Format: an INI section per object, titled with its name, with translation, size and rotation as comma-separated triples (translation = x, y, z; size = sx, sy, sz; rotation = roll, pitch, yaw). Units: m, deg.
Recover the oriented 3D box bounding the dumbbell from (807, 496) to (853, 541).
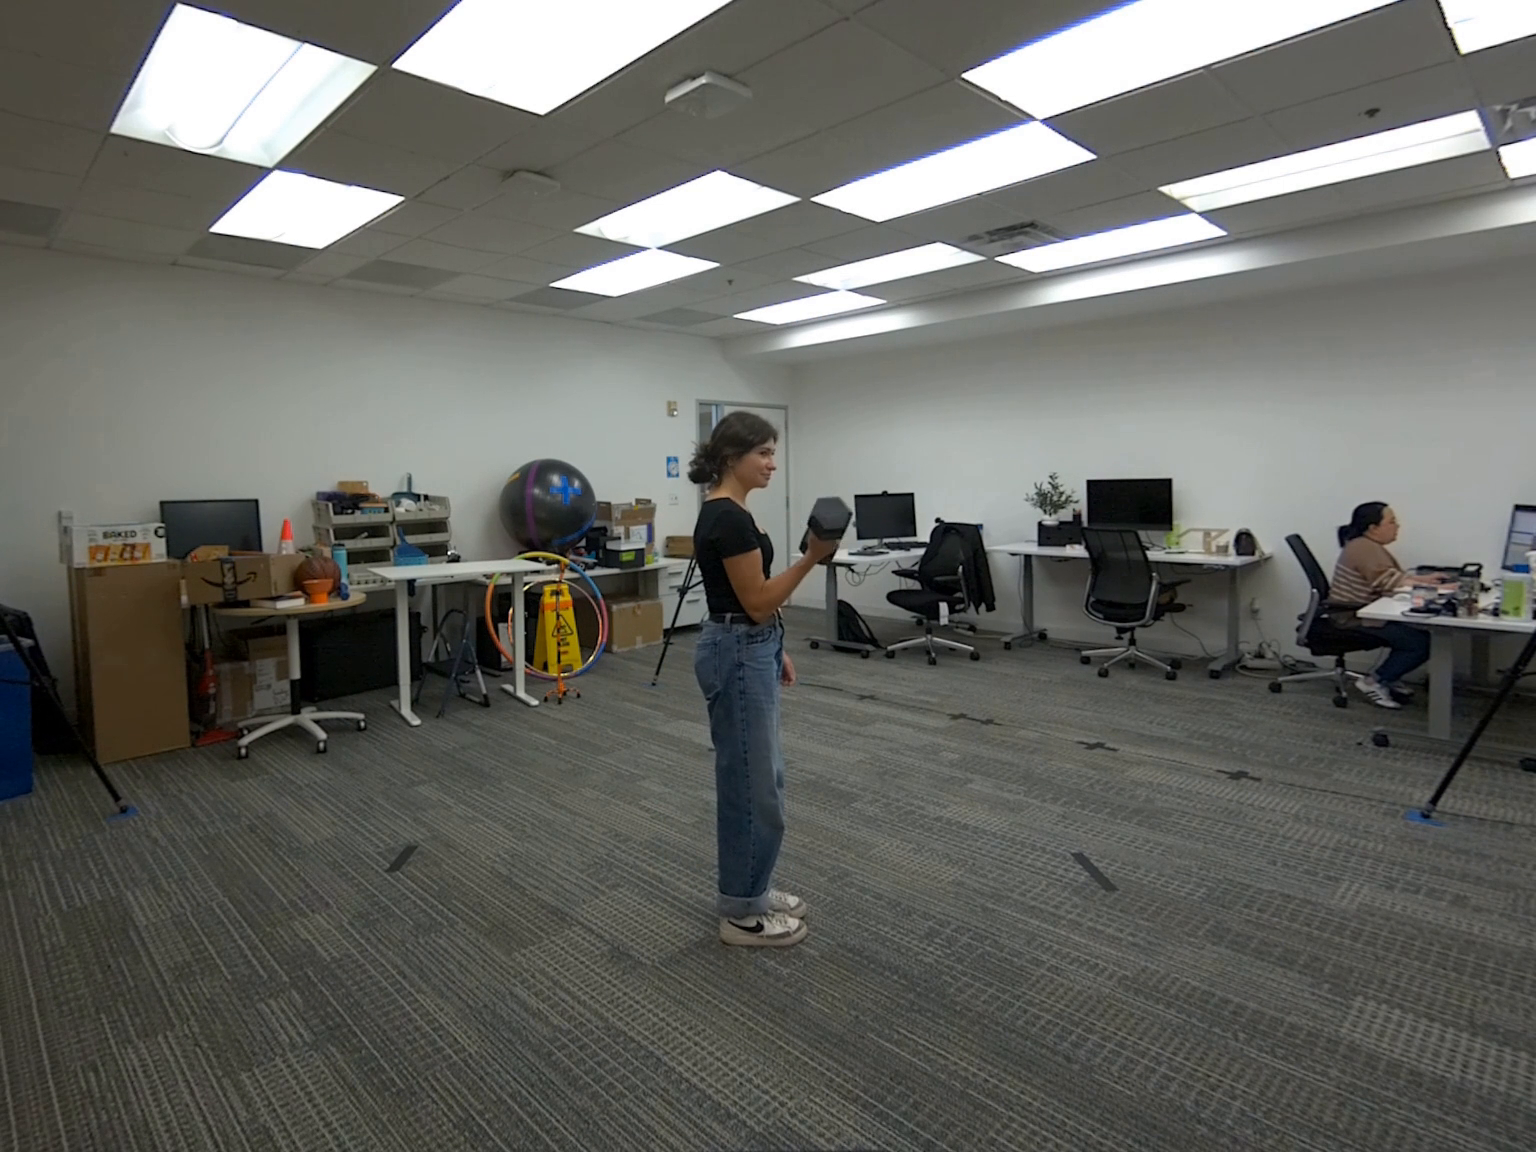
[dumbbell]
translation = 0.159, -0.117, 2.458
size = 0.109, 0.124, 0.289
rotation = 24, -19, 4
